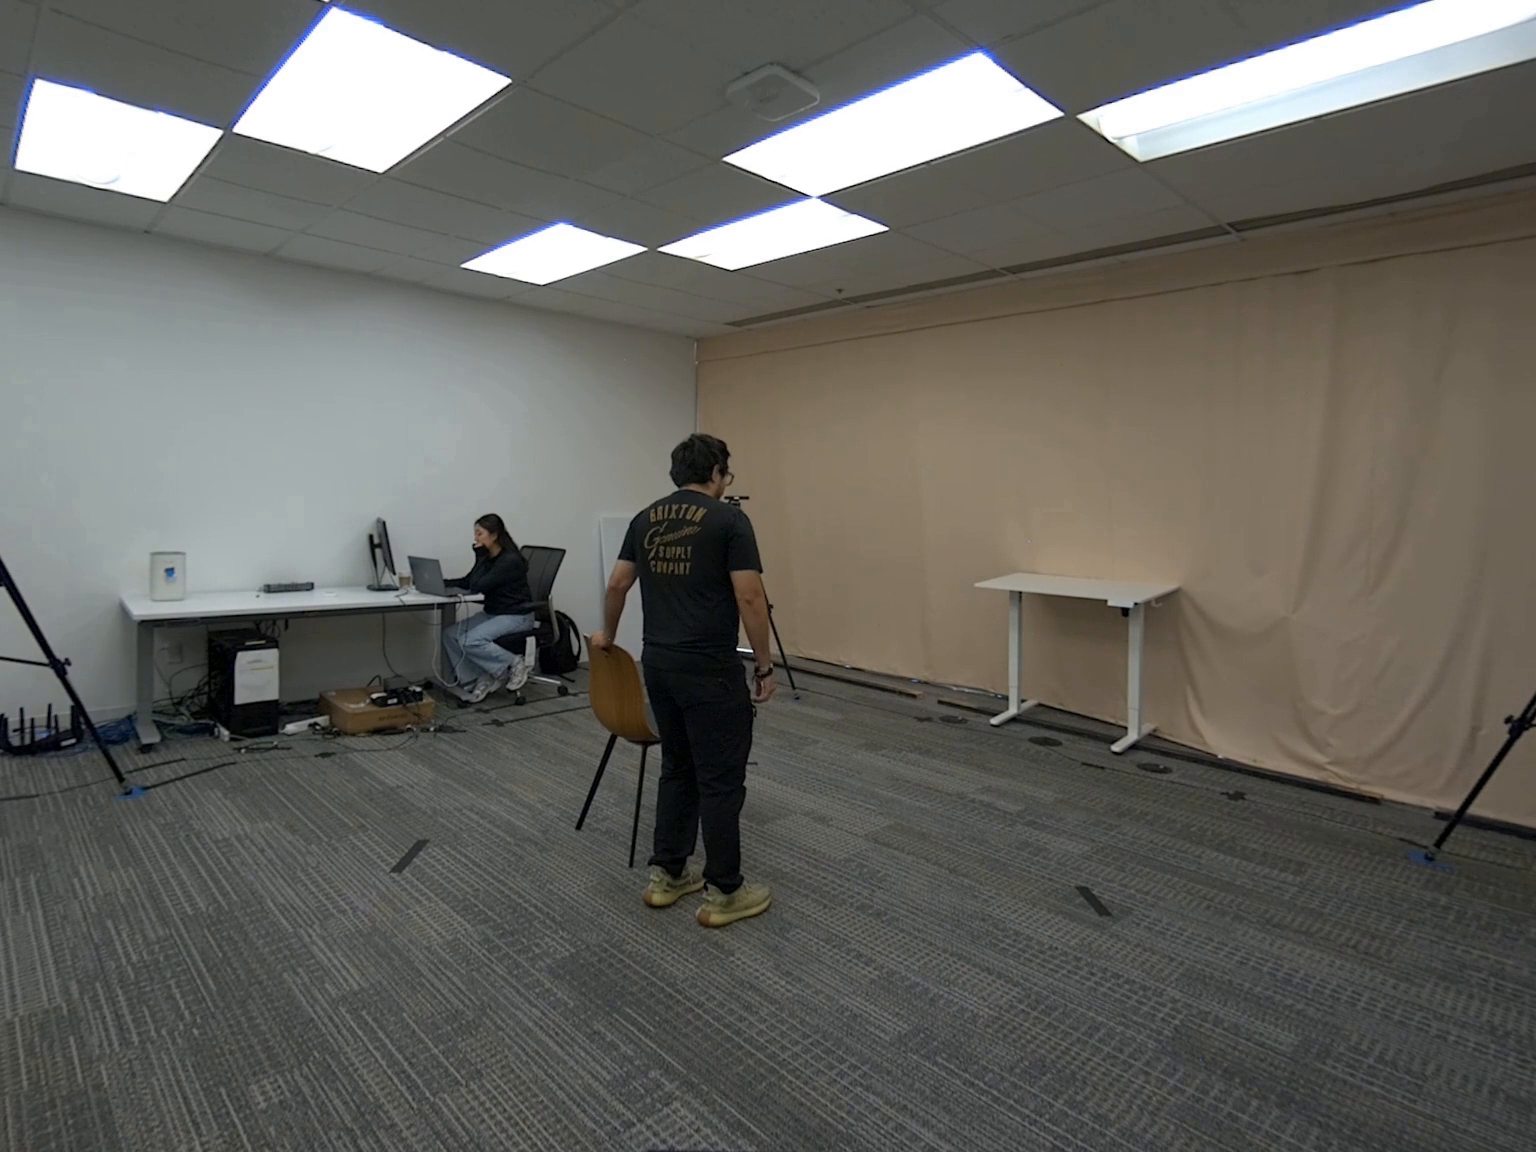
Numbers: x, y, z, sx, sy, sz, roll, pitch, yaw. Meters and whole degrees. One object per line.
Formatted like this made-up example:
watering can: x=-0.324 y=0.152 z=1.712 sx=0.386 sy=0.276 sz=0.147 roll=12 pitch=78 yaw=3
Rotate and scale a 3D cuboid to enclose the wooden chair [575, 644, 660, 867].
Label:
wooden chair: x=-0.468 y=0.640 z=3.428 sx=0.512 sy=0.873 sz=0.490 roll=-7 pitch=8 yaw=-38
